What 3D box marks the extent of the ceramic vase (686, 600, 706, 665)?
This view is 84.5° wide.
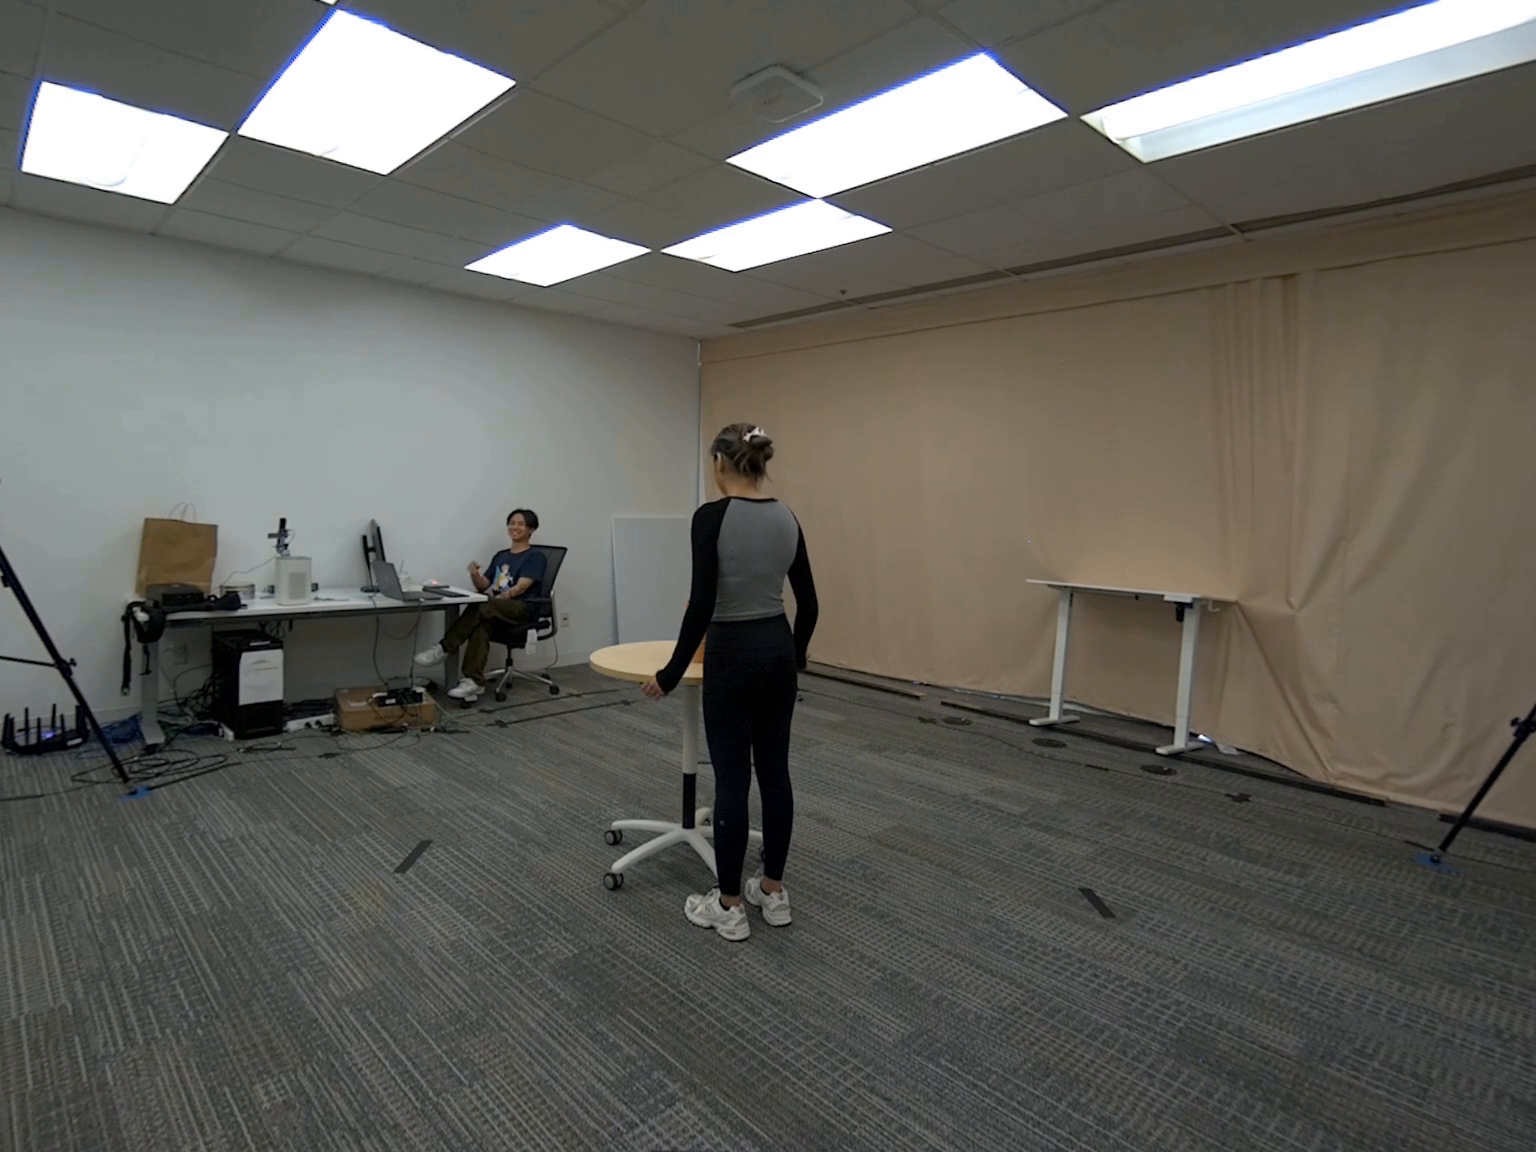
[{"bbox_3d":[-0.251,0.209,3.082,0.138,0.219,0.155,4,4,41],"label":"ceramic vase"}]
